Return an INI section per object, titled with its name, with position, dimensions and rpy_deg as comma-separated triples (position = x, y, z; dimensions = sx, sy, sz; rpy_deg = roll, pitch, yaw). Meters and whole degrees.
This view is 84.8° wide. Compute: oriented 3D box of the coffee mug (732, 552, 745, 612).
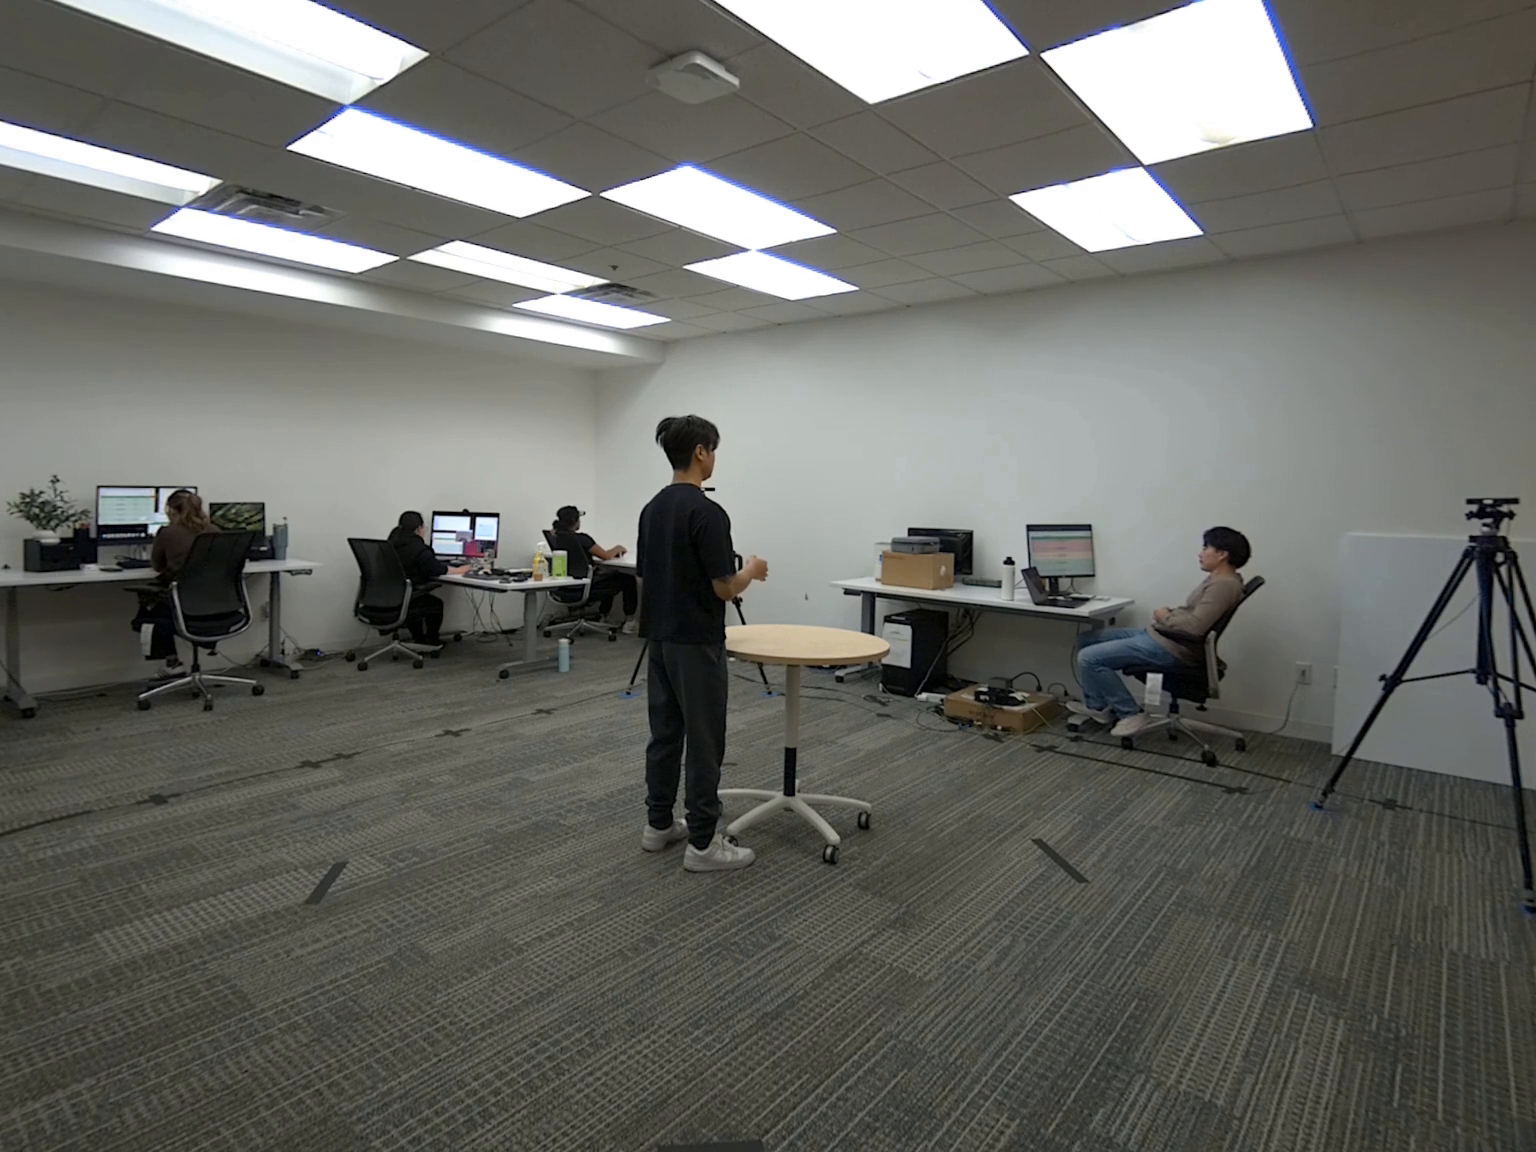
[coffee mug]
position = -0.184, -0.003, 3.446
dimensions = 0.085, 0.206, 0.124
rpy_deg = 14, -20, -33
